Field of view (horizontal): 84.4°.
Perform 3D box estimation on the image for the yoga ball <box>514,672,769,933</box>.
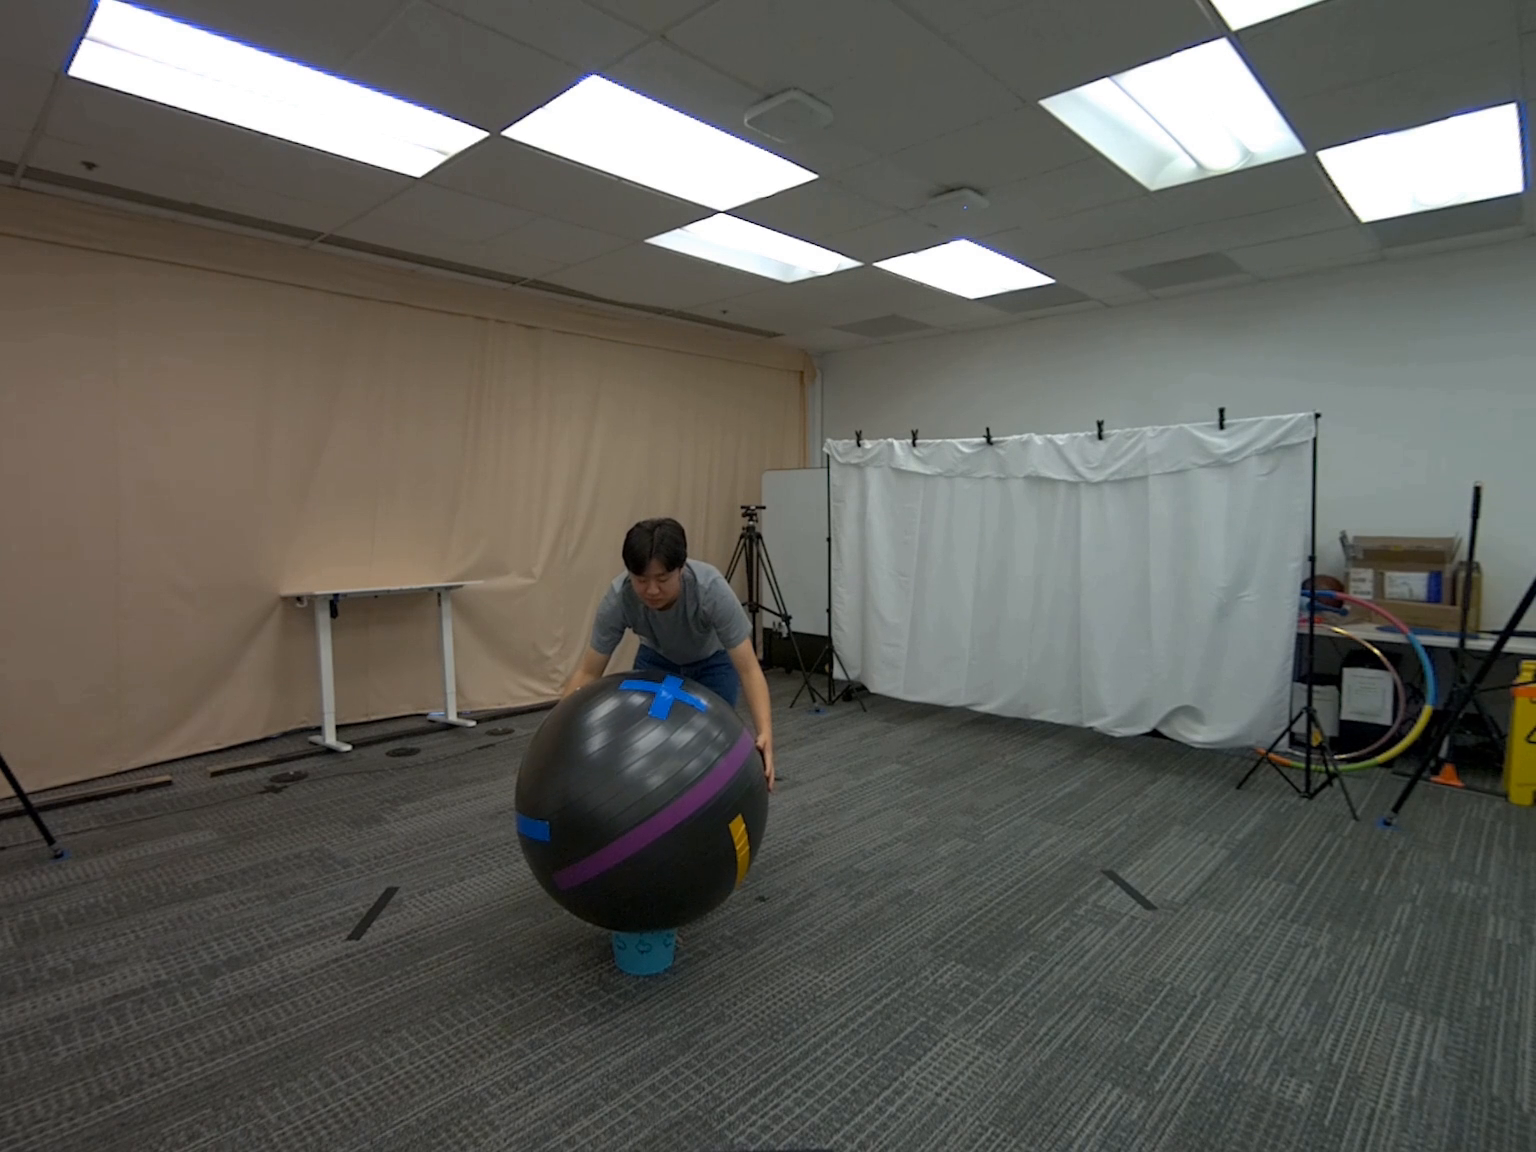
[{"bbox_3d":[-0.387,0.677,2.542,0.757,0.756,0.761,0,4,-2],"label":"yoga ball"}]
